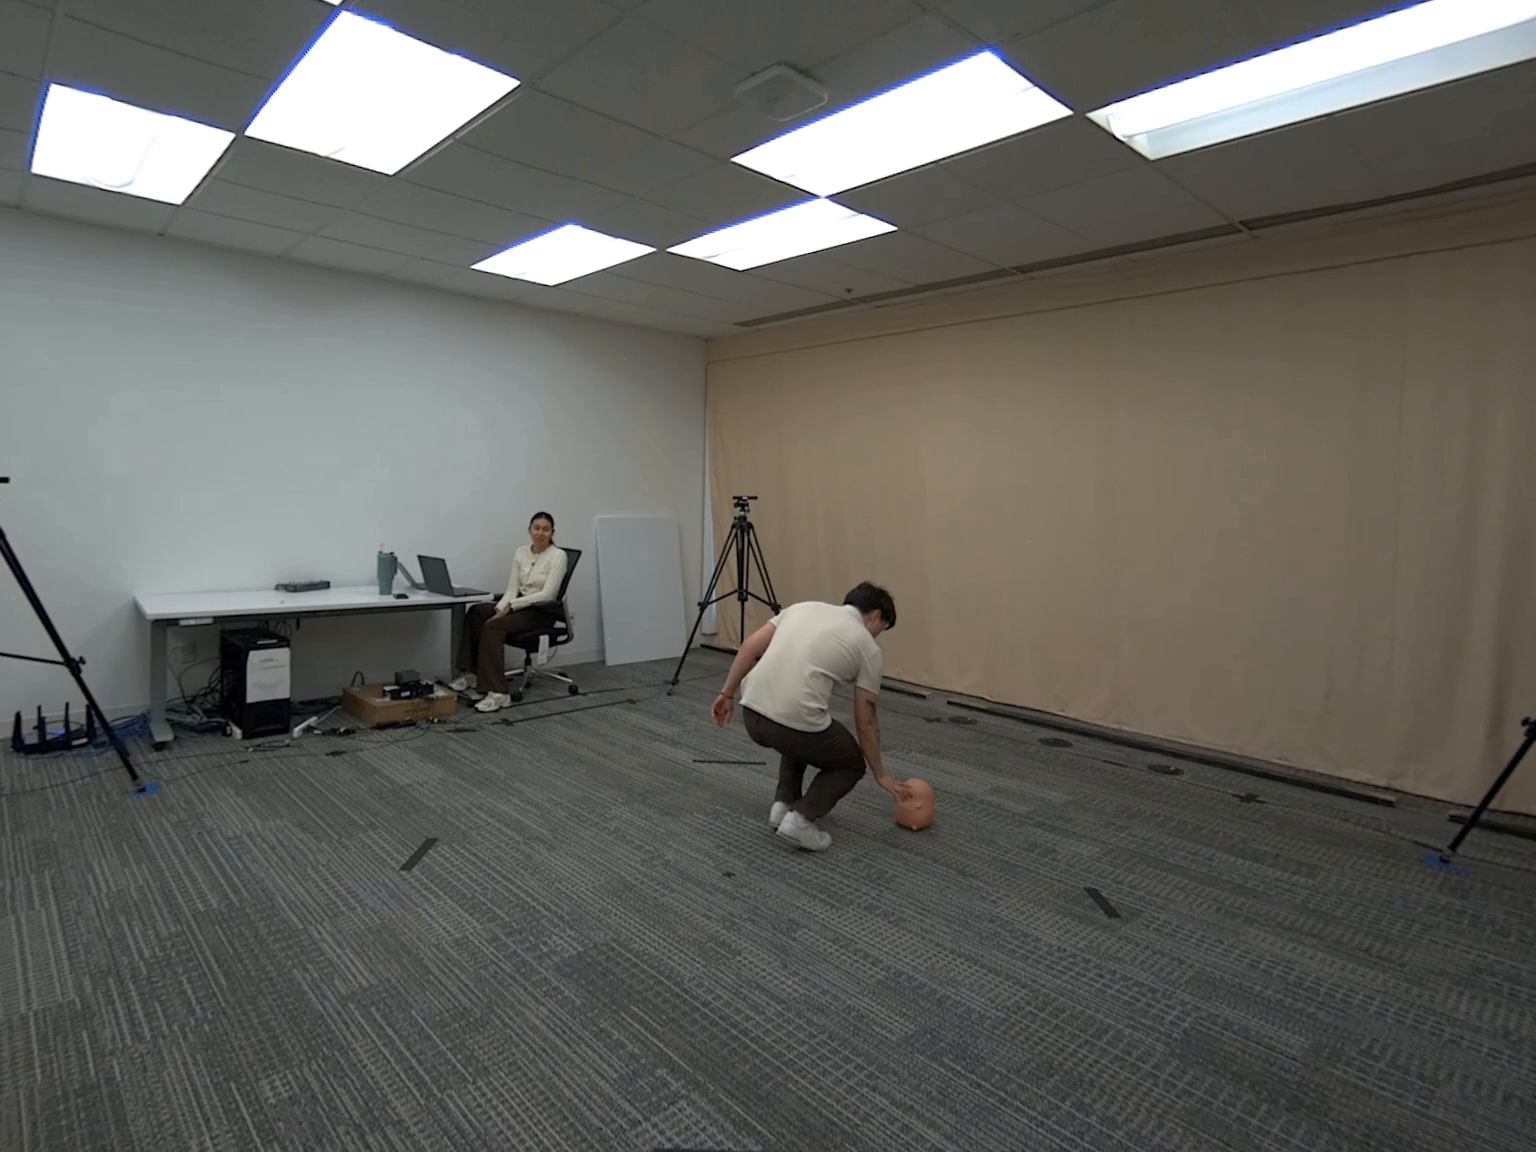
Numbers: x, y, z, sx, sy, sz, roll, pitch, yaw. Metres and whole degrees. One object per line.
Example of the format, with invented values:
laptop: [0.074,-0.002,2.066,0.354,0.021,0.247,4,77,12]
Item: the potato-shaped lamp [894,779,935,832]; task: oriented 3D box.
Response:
potato-shaped lamp: [0.619,0.971,3.636,0.167,0.198,0.168,-1,0,-40]
